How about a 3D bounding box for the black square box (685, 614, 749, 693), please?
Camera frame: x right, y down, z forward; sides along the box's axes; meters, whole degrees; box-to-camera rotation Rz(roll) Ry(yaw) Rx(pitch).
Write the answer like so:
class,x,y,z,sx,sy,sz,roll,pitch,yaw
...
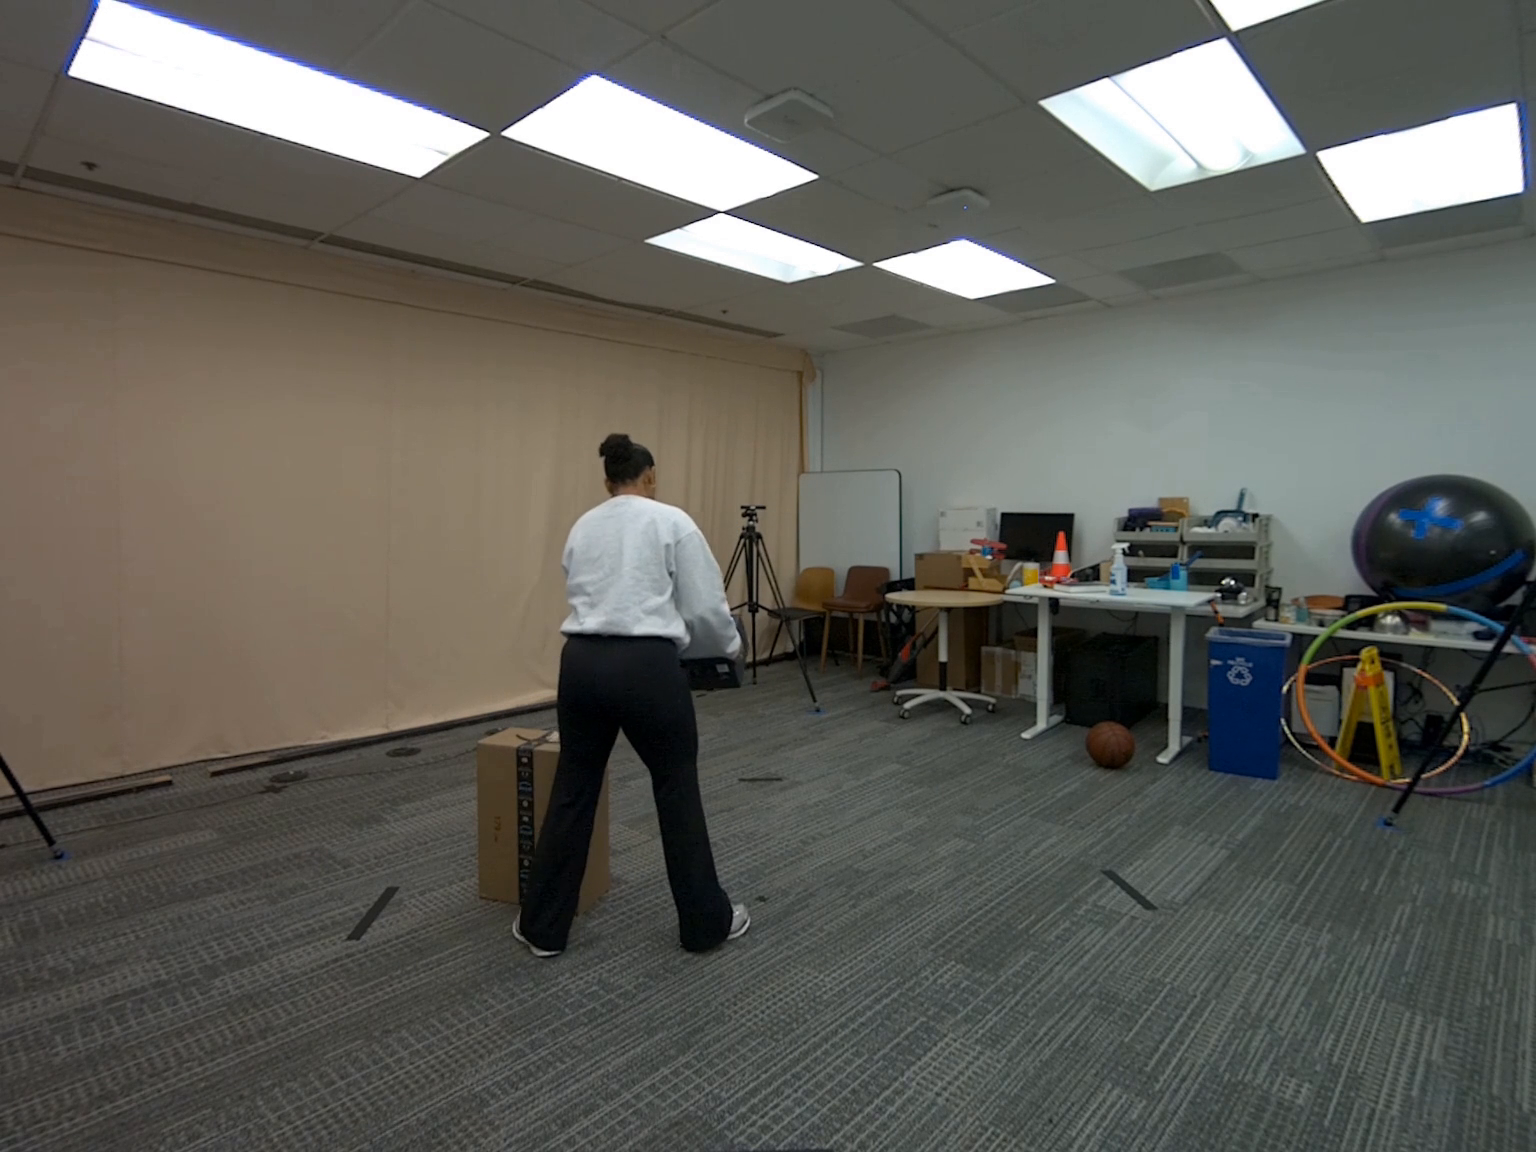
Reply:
class,x,y,z,sx,sy,sz,roll,pitch,yaw
black square box,-0.209,0.274,3.020,0.220,0.152,0.230,-6,33,14
